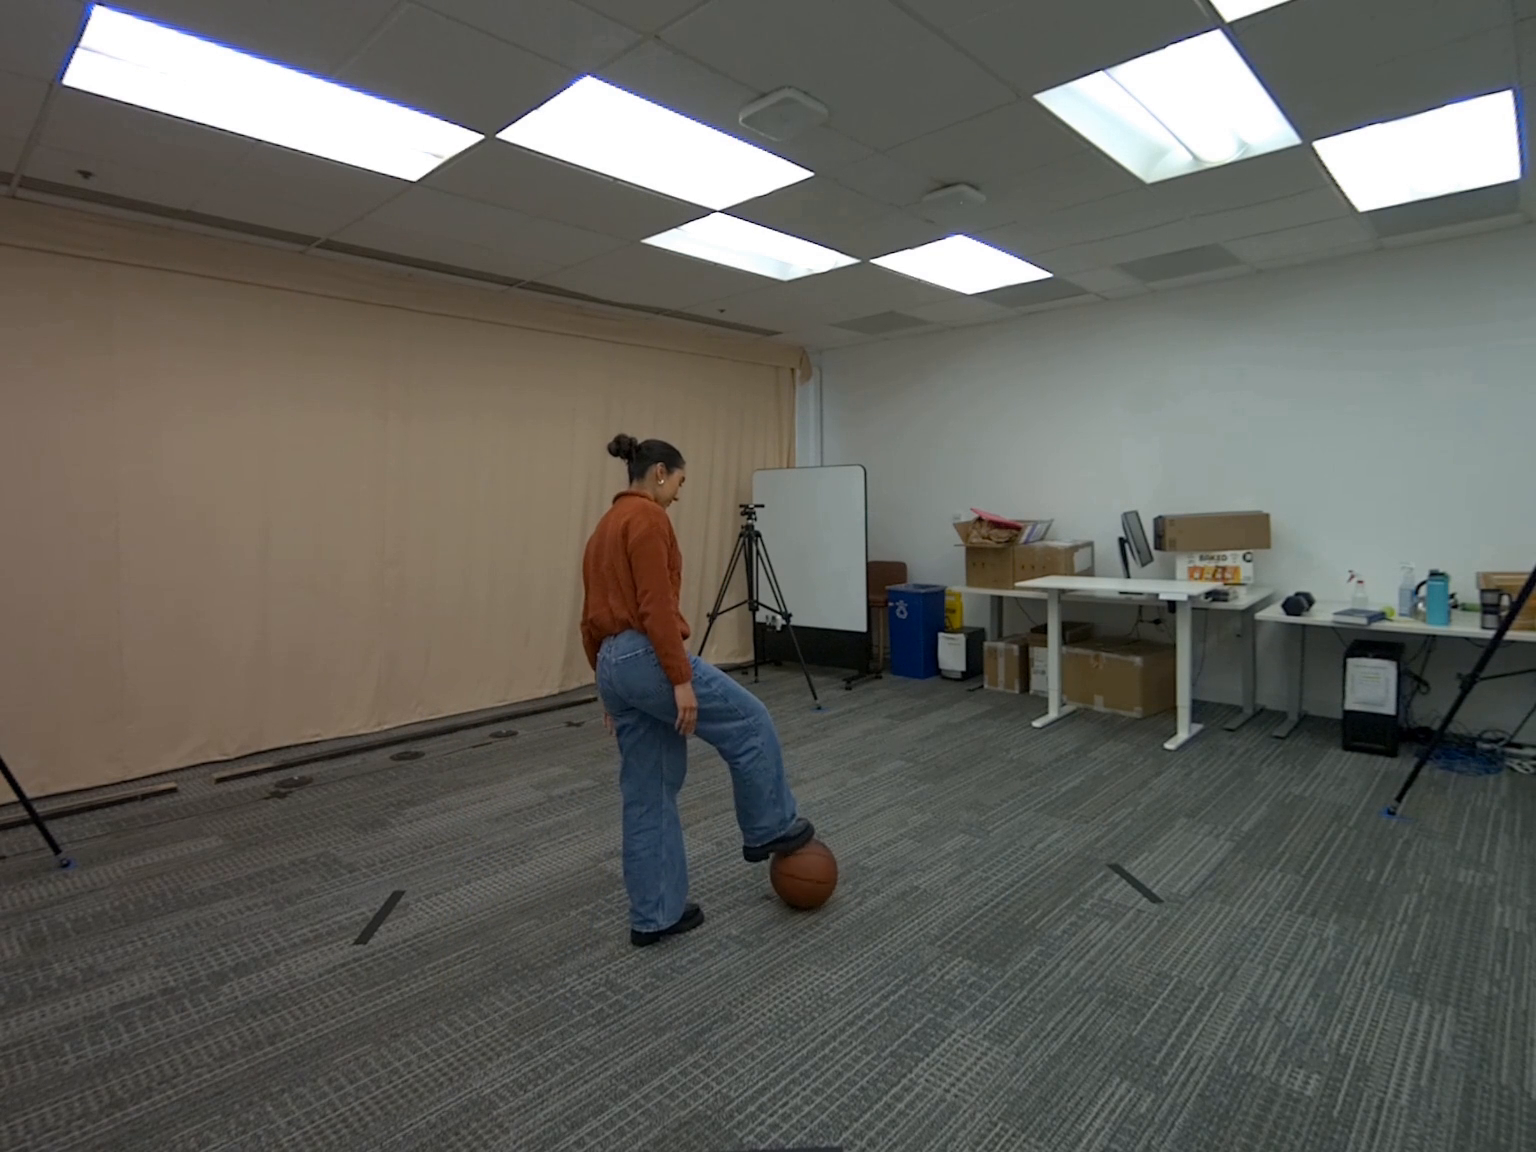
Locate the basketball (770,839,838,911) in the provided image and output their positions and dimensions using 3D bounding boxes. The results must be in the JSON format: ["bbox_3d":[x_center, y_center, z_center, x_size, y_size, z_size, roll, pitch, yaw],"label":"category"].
[{"bbox_3d":[0.127,1.025,2.909,0.236,0.235,0.237,-1,4,-2],"label":"basketball"}]
